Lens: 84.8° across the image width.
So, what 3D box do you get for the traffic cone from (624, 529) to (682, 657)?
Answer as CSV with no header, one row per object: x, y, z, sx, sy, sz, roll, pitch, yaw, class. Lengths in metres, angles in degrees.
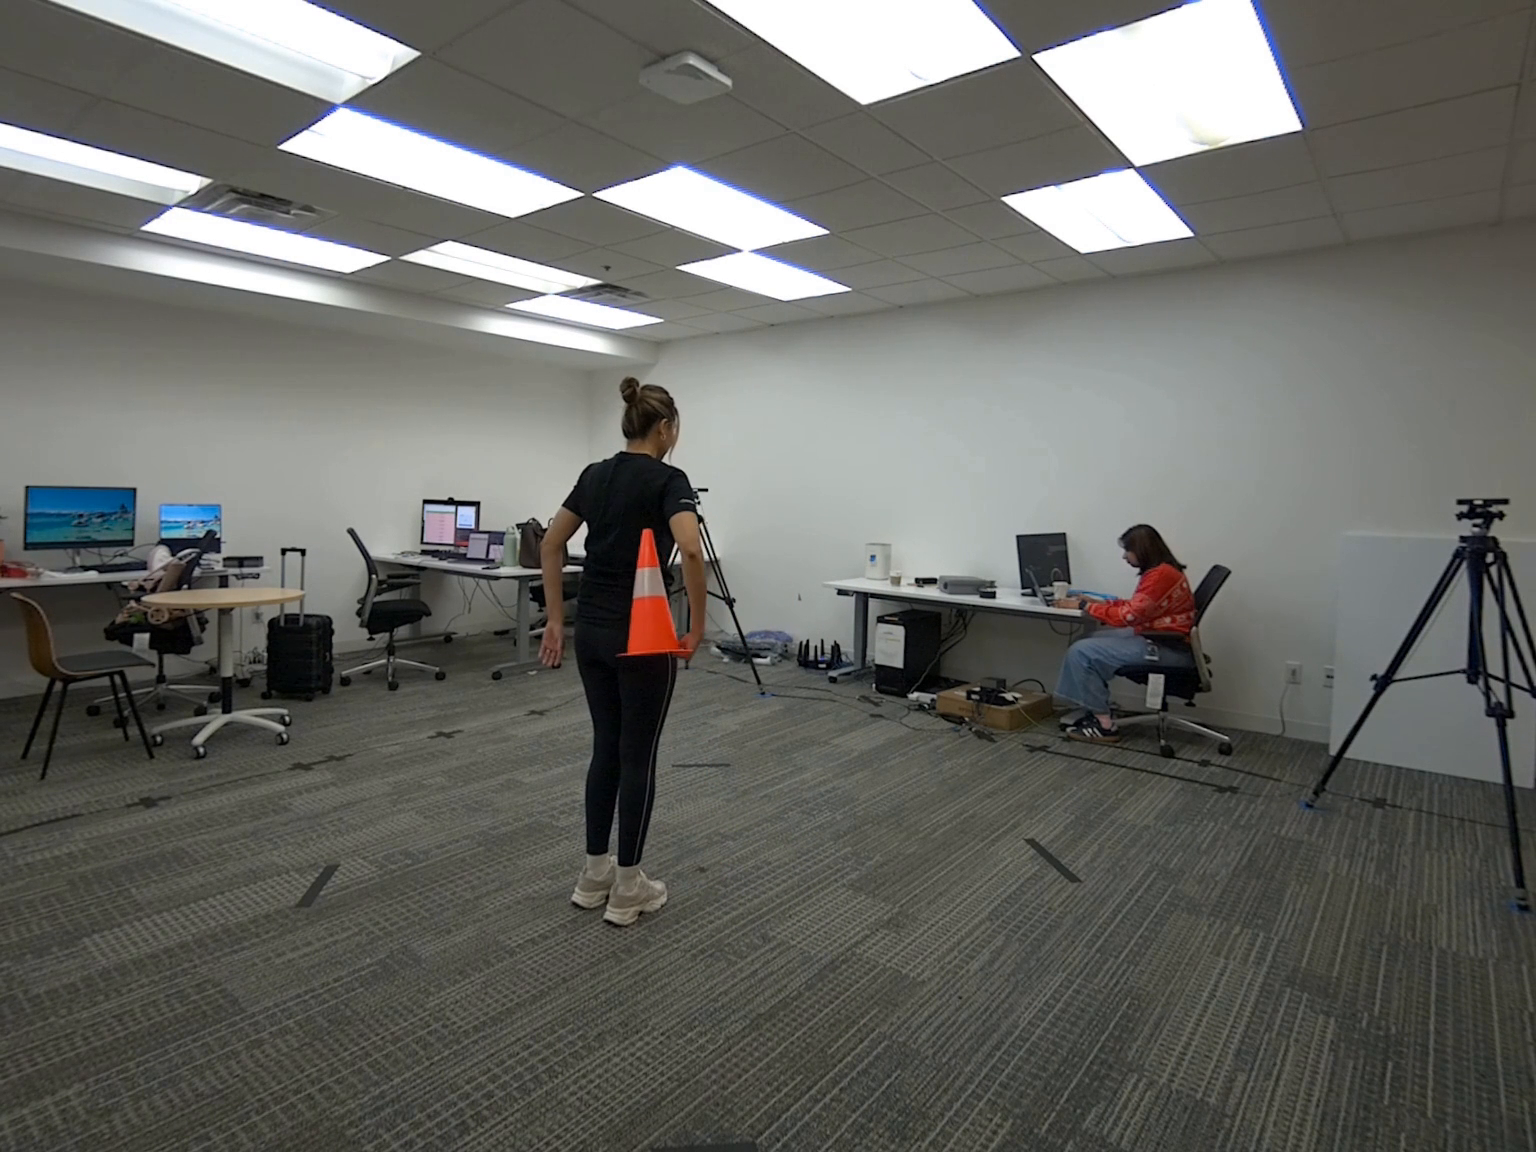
-0.367,0.042,2.606,0.199,0.387,0.207,0,-8,-30,traffic cone
